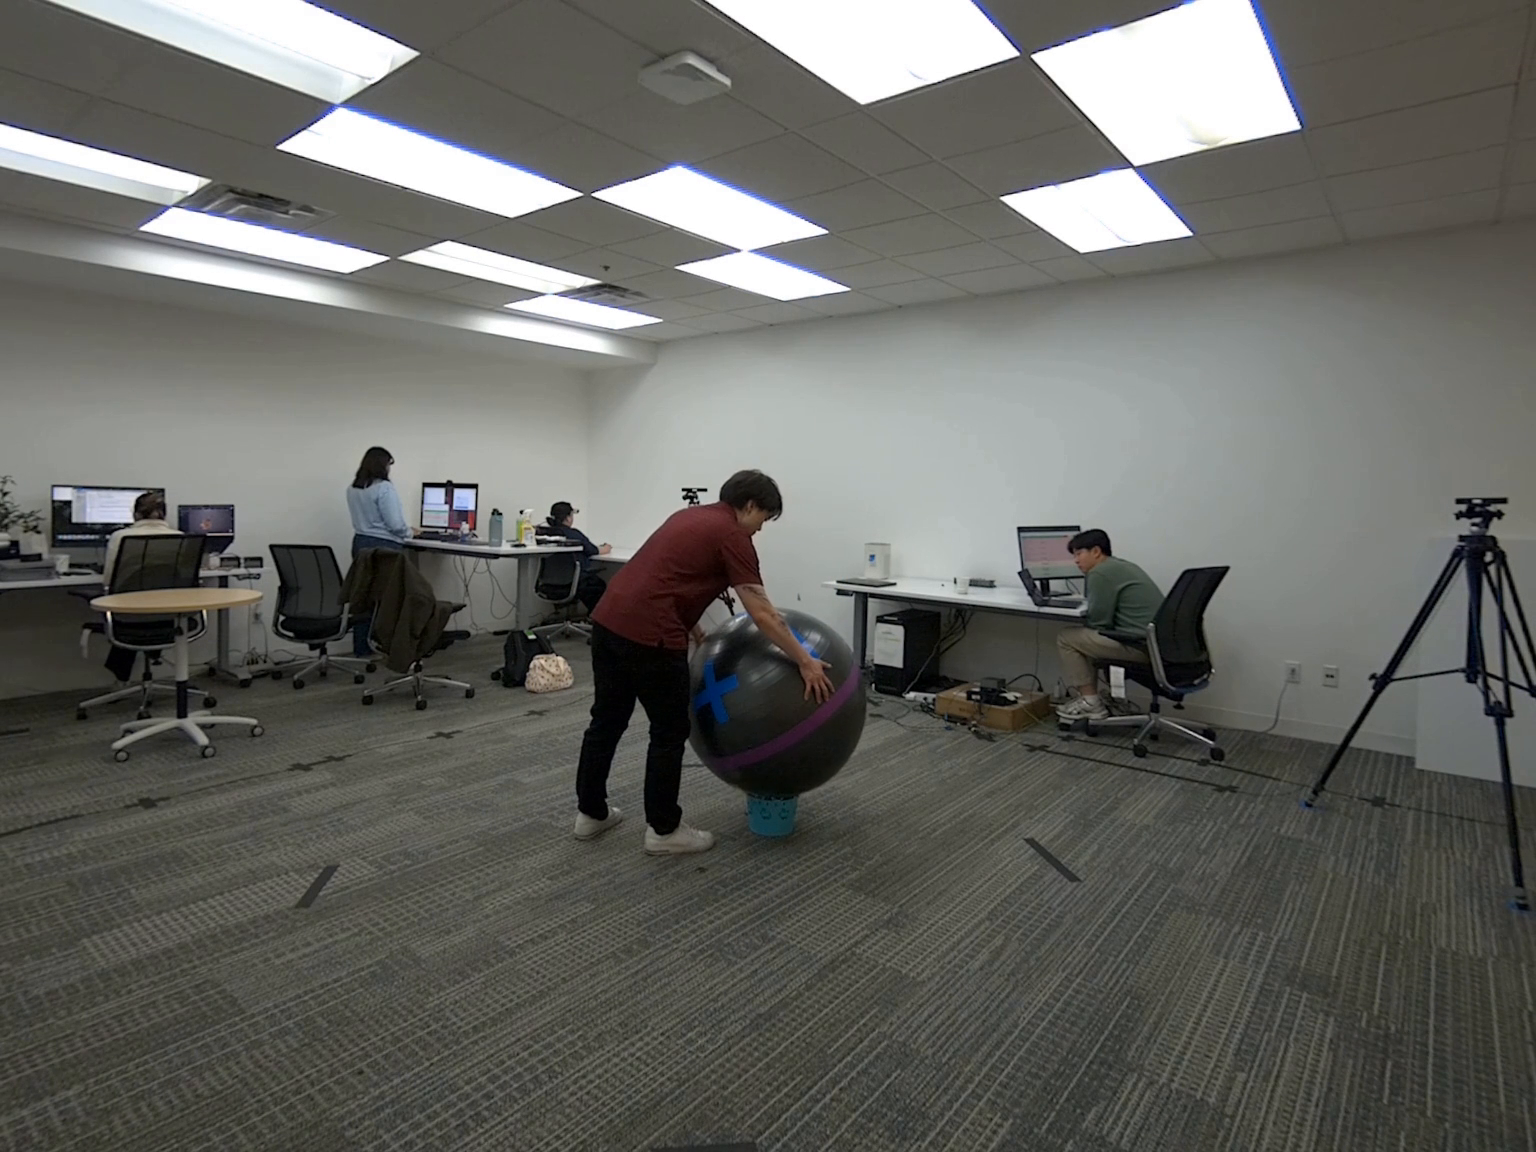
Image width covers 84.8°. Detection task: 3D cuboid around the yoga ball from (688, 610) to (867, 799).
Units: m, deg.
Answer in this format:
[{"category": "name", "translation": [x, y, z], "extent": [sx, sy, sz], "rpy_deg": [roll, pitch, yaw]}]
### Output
[{"category": "yoga ball", "translation": [0.017, 0.512, 3.500], "extent": [0.757, 0.755, 0.762], "rpy_deg": [1, 4, -2]}]
